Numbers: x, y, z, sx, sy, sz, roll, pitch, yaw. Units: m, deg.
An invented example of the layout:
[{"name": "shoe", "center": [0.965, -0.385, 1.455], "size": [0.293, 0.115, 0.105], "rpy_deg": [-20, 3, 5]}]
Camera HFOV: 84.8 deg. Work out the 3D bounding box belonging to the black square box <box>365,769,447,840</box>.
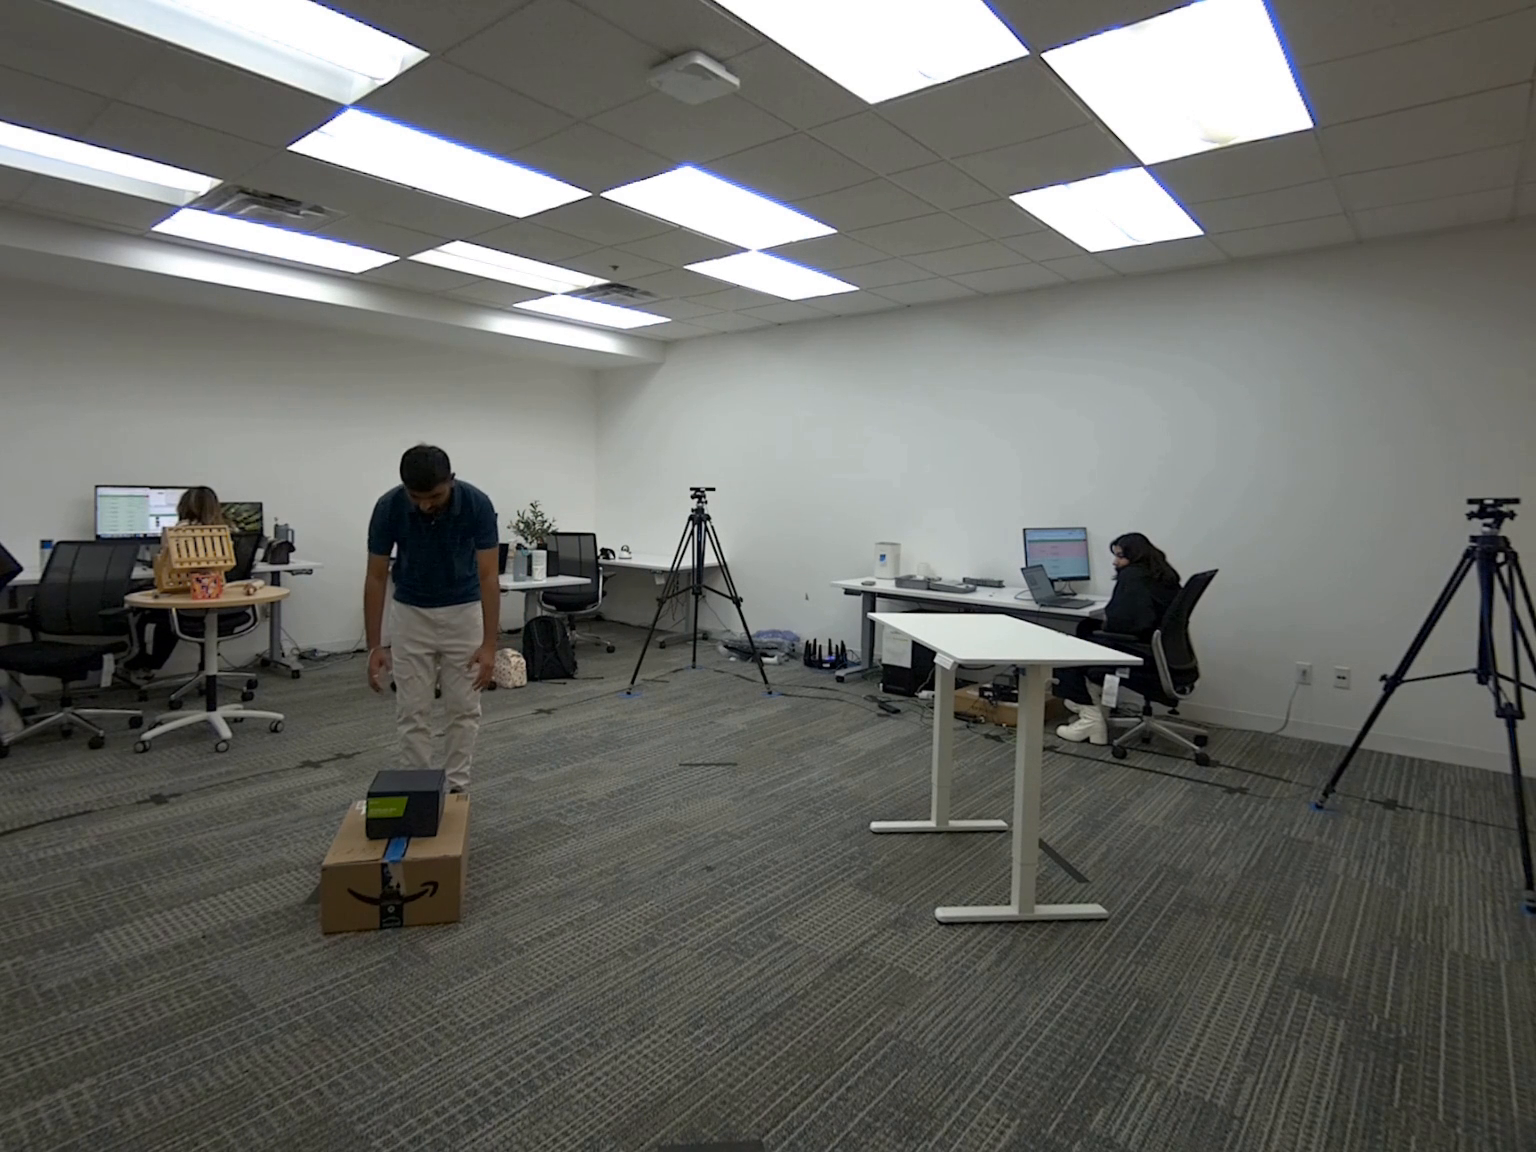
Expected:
[{"name": "black square box", "center": [-1.248, 0.772, 2.912], "size": [0.225, 0.155, 0.221], "rpy_deg": [1, 6, -14]}]
